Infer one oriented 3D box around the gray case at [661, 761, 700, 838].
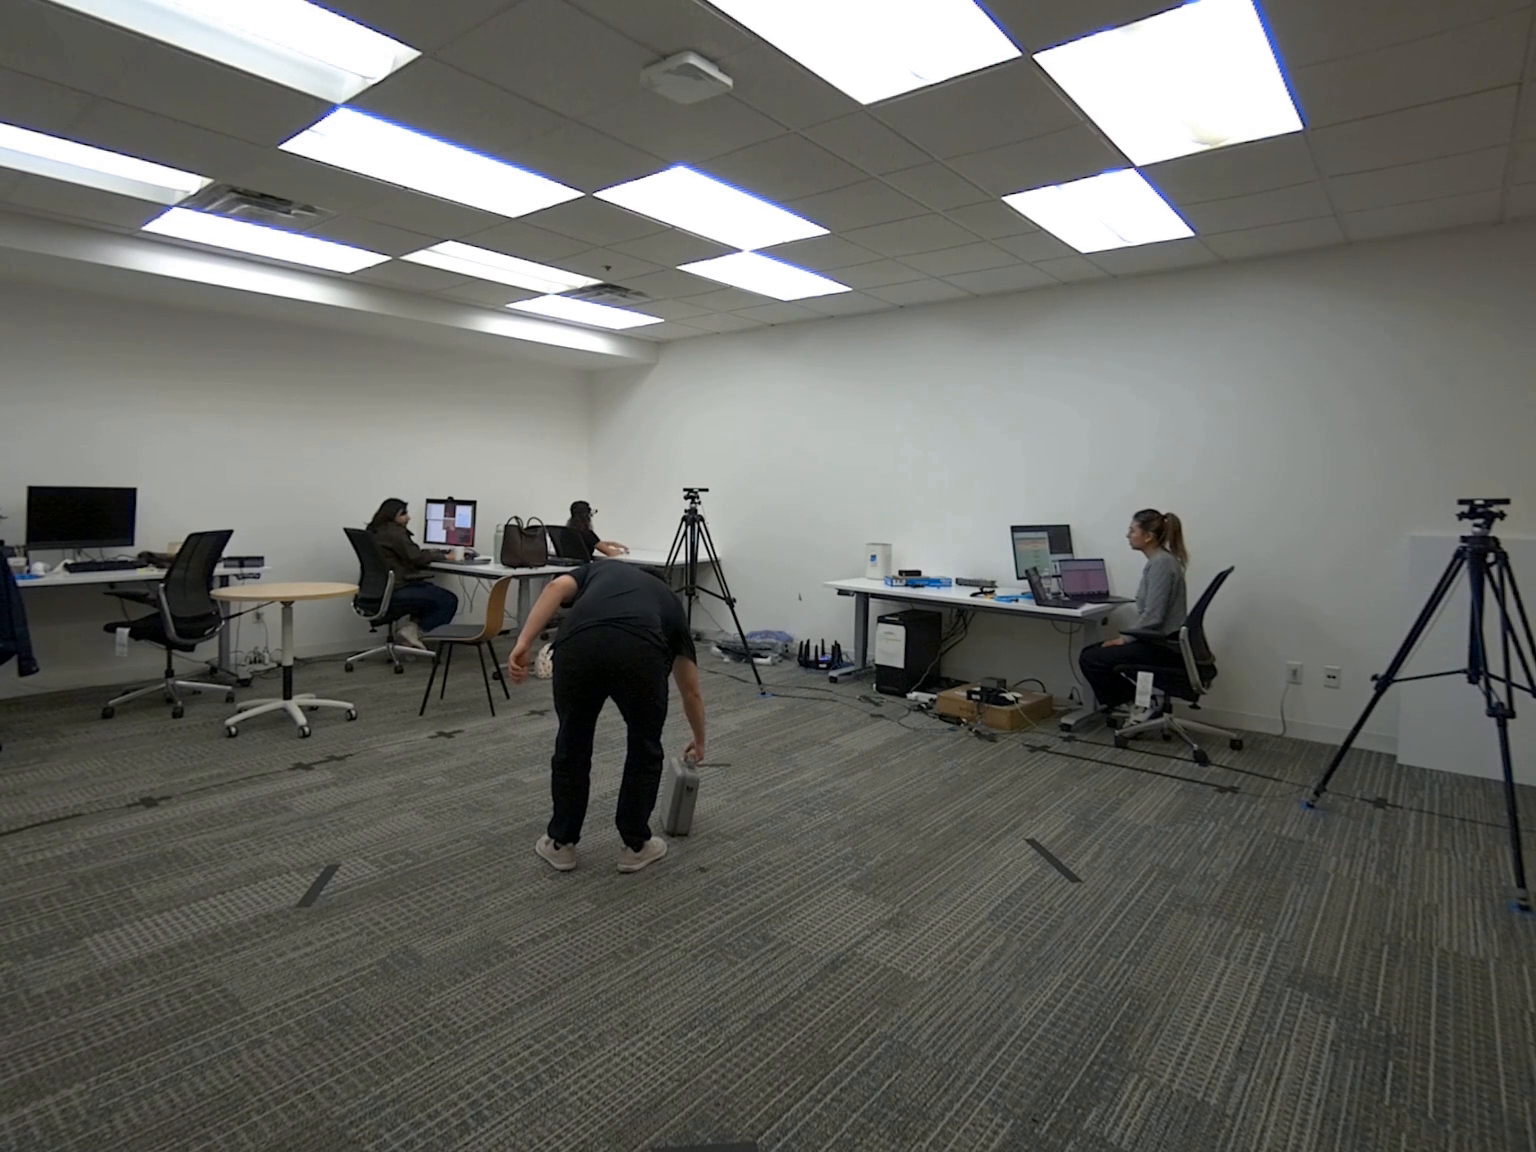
[{"bbox_3d":[-0.375,0.895,3.512,0.103,0.260,0.261,9,3,-14],"label":"gray case"}]
